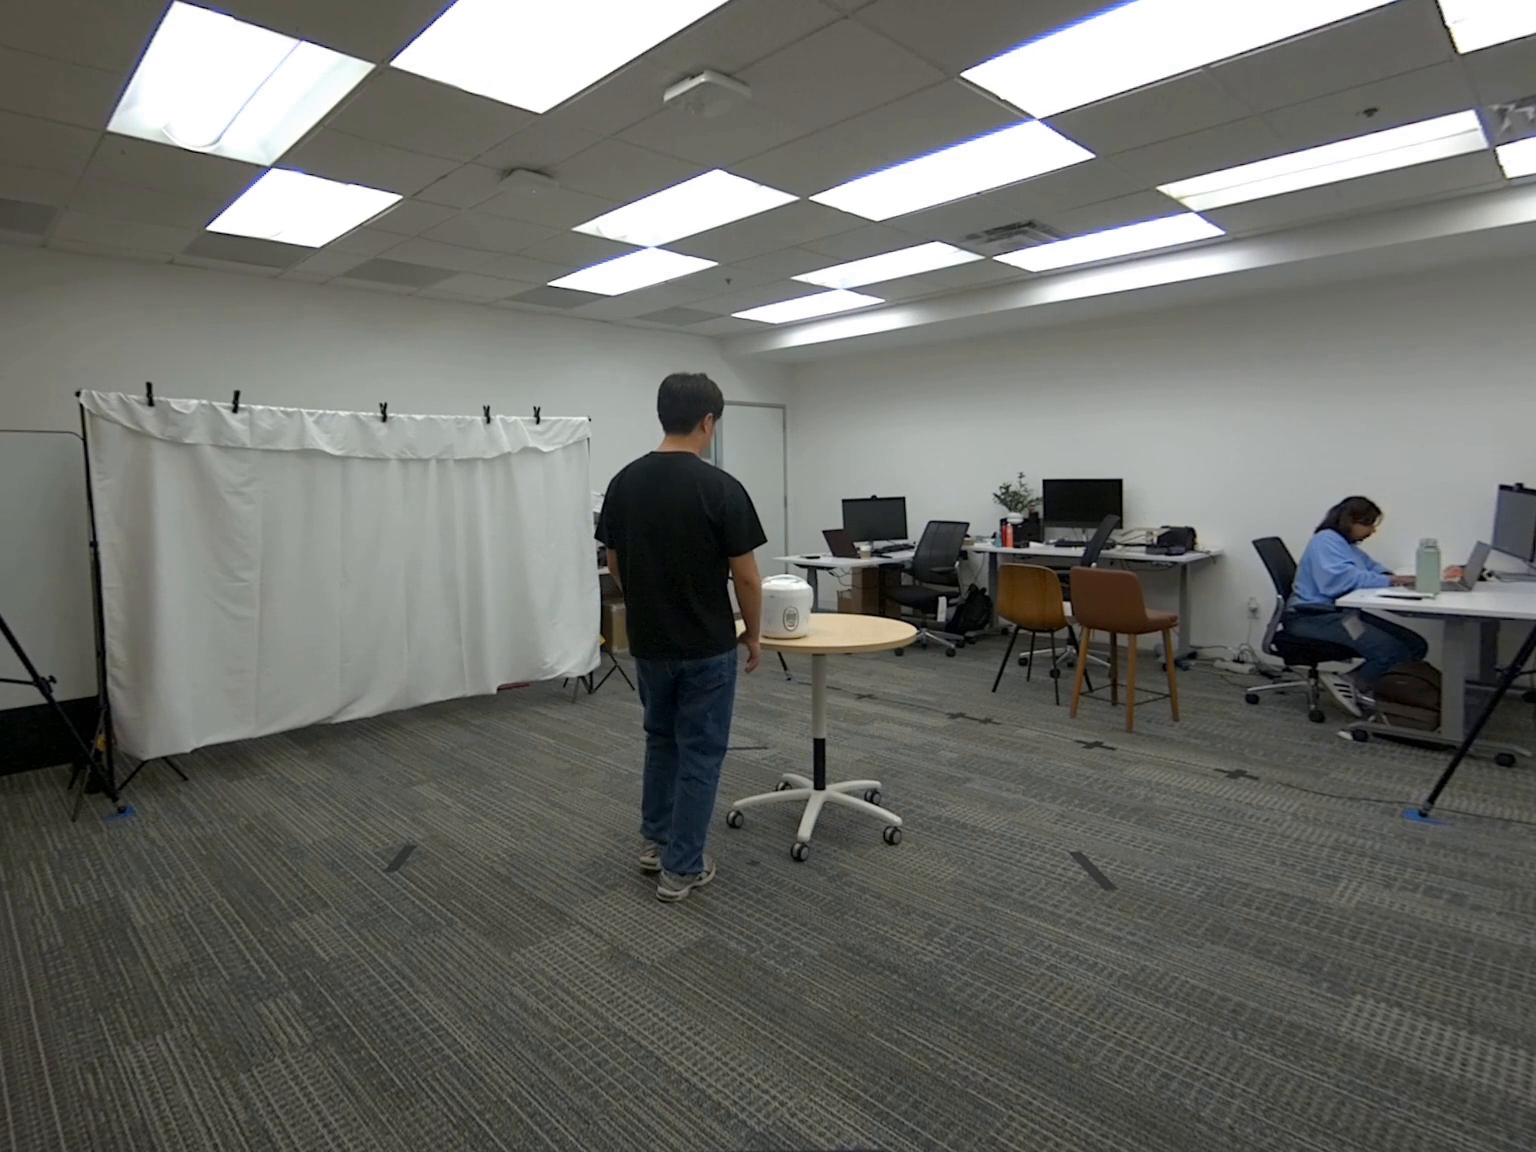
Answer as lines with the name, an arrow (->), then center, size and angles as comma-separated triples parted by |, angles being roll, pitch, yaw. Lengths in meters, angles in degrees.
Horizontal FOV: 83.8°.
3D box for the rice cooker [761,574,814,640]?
rice cooker -> 0.066, 0.111, 3.250 | 0.218, 0.232, 0.220 | -2, 4, -12
